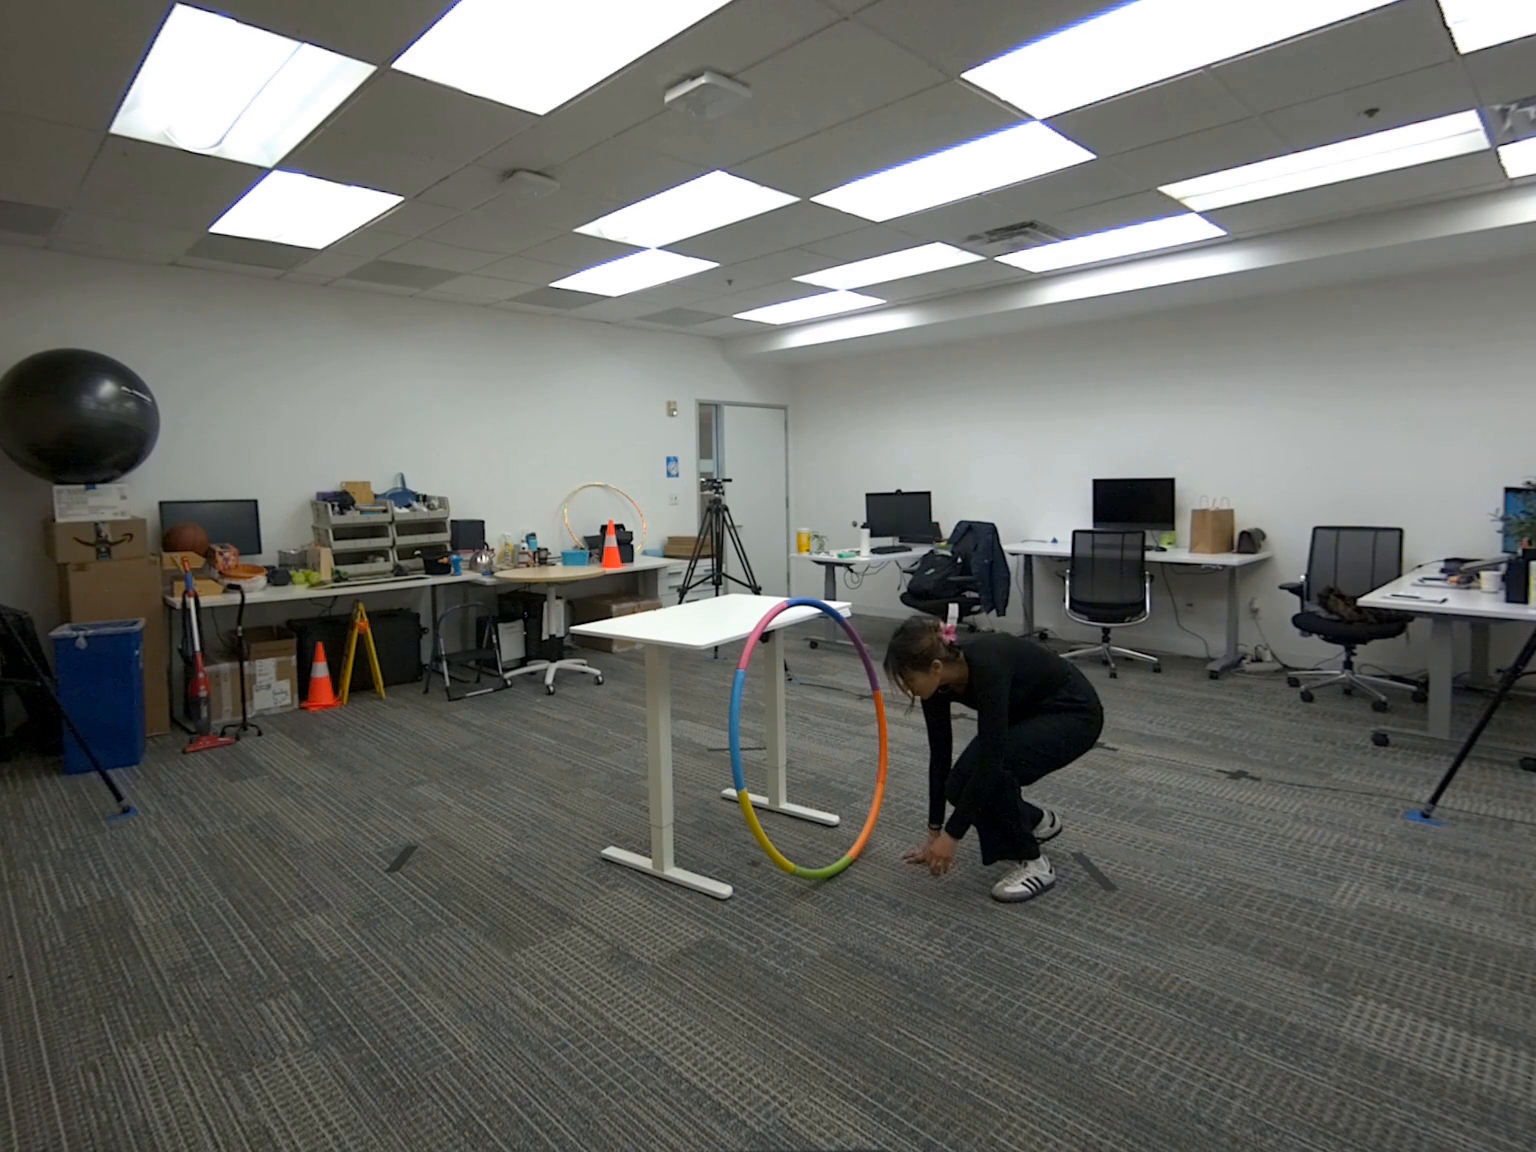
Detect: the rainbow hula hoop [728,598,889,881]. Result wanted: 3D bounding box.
[{"bbox_3d":[0.179,0.565,3.066,0.036,0.982,0.955,-13,-3,36],"label":"rainbow hula hoop"}]
